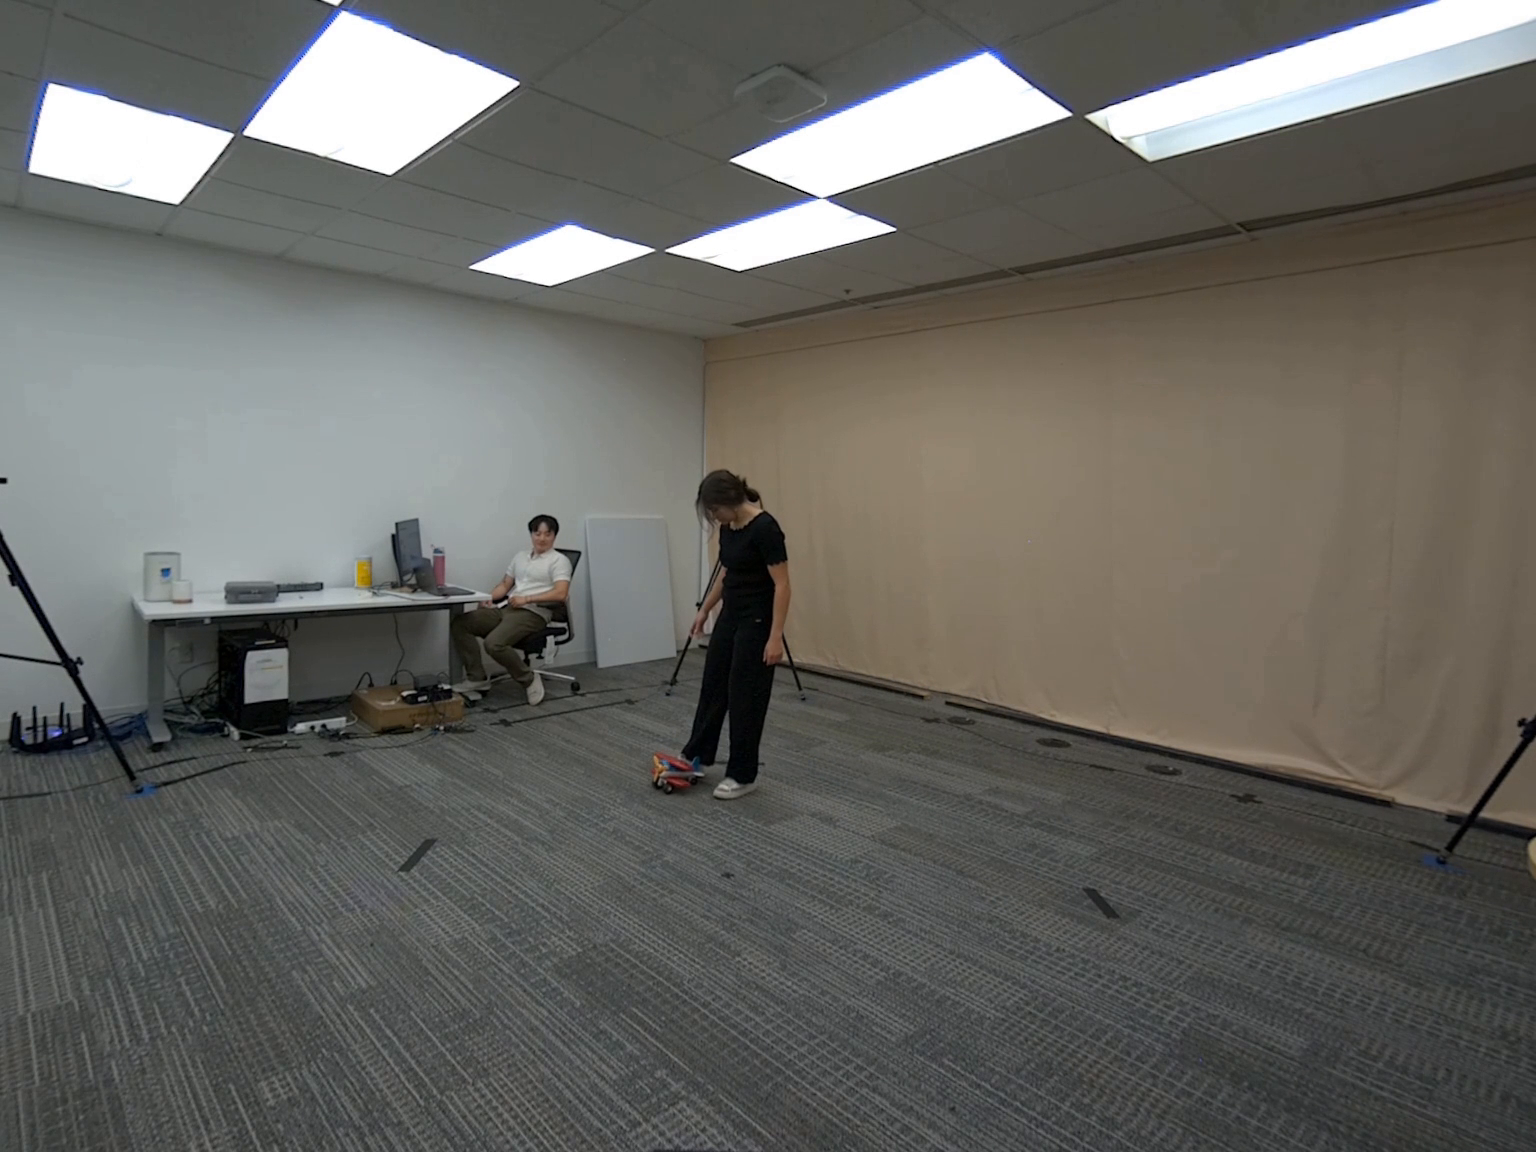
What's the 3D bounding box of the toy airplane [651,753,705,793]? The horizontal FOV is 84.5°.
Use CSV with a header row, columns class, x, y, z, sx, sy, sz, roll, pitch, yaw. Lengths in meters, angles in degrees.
class,x,y,z,sx,sy,sz,roll,pitch,yaw
toy airplane,-0.457,0.938,4.049,0.254,0.155,0.257,4,8,16
